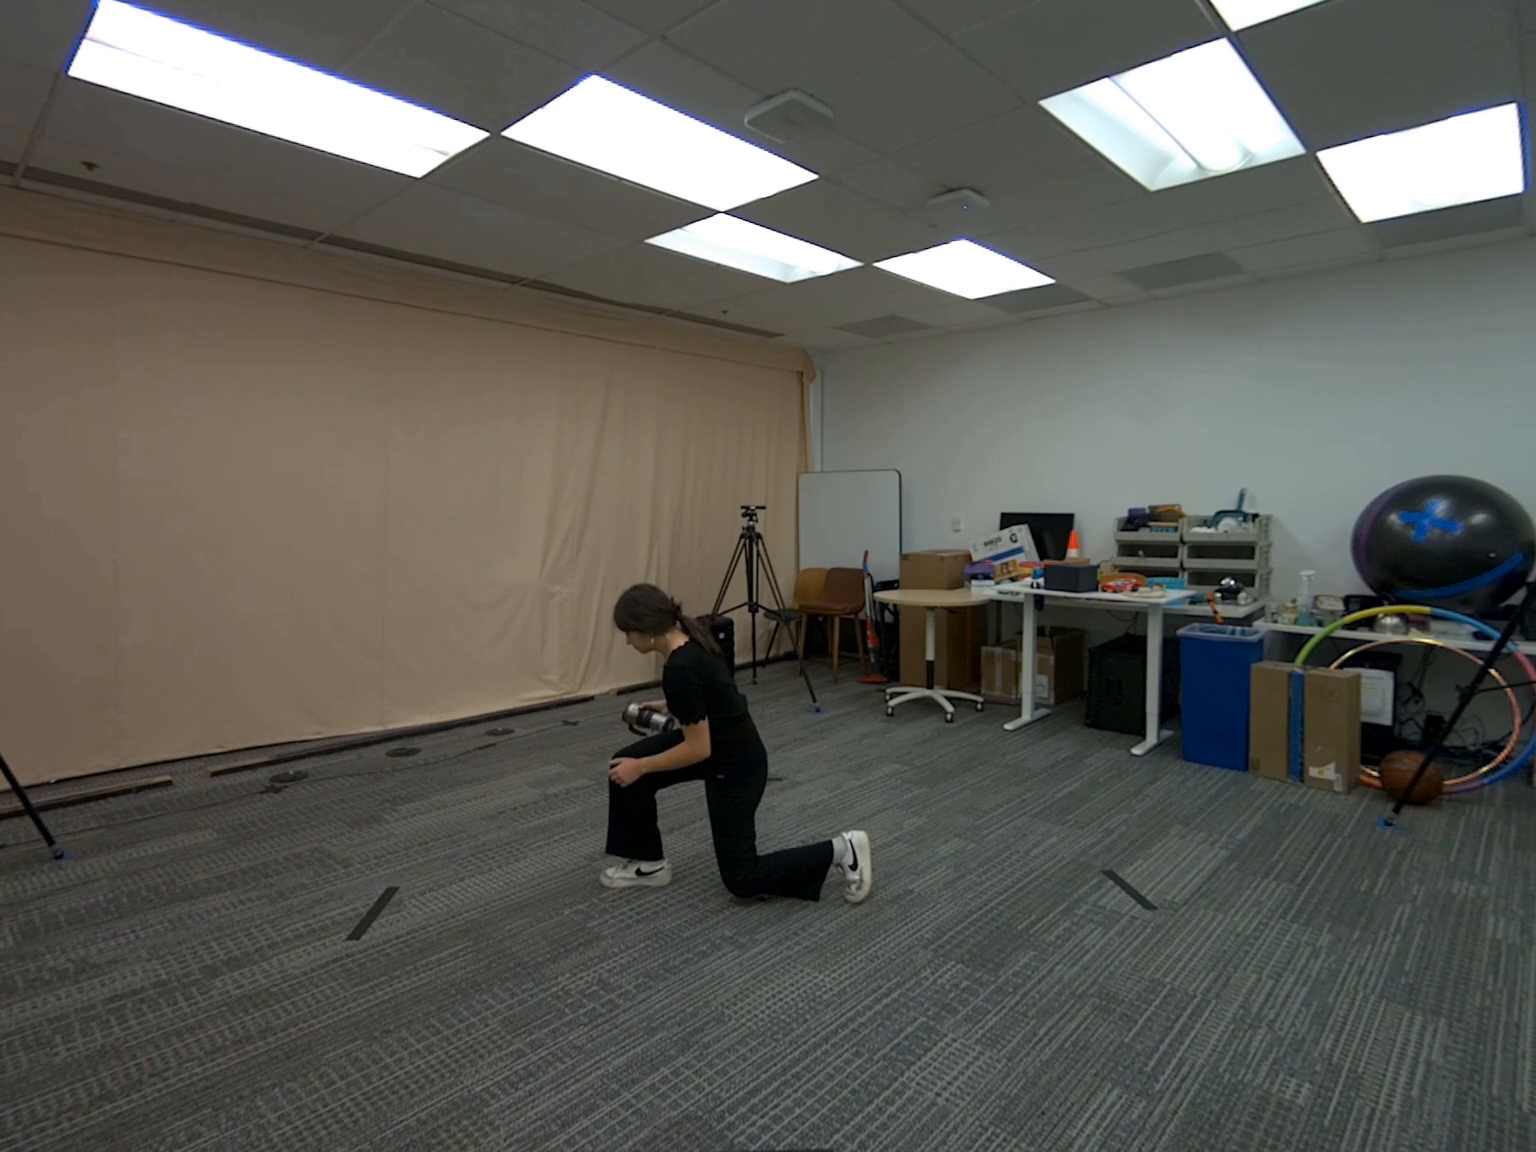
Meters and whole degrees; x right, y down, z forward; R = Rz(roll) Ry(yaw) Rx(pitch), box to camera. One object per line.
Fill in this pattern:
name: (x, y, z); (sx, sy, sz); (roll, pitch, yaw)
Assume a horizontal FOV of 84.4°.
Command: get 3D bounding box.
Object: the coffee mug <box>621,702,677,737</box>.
coffee mug: (-0.476, 0.580, 3.326); (0.208, 0.122, 0.086); (13, 2, 22)
